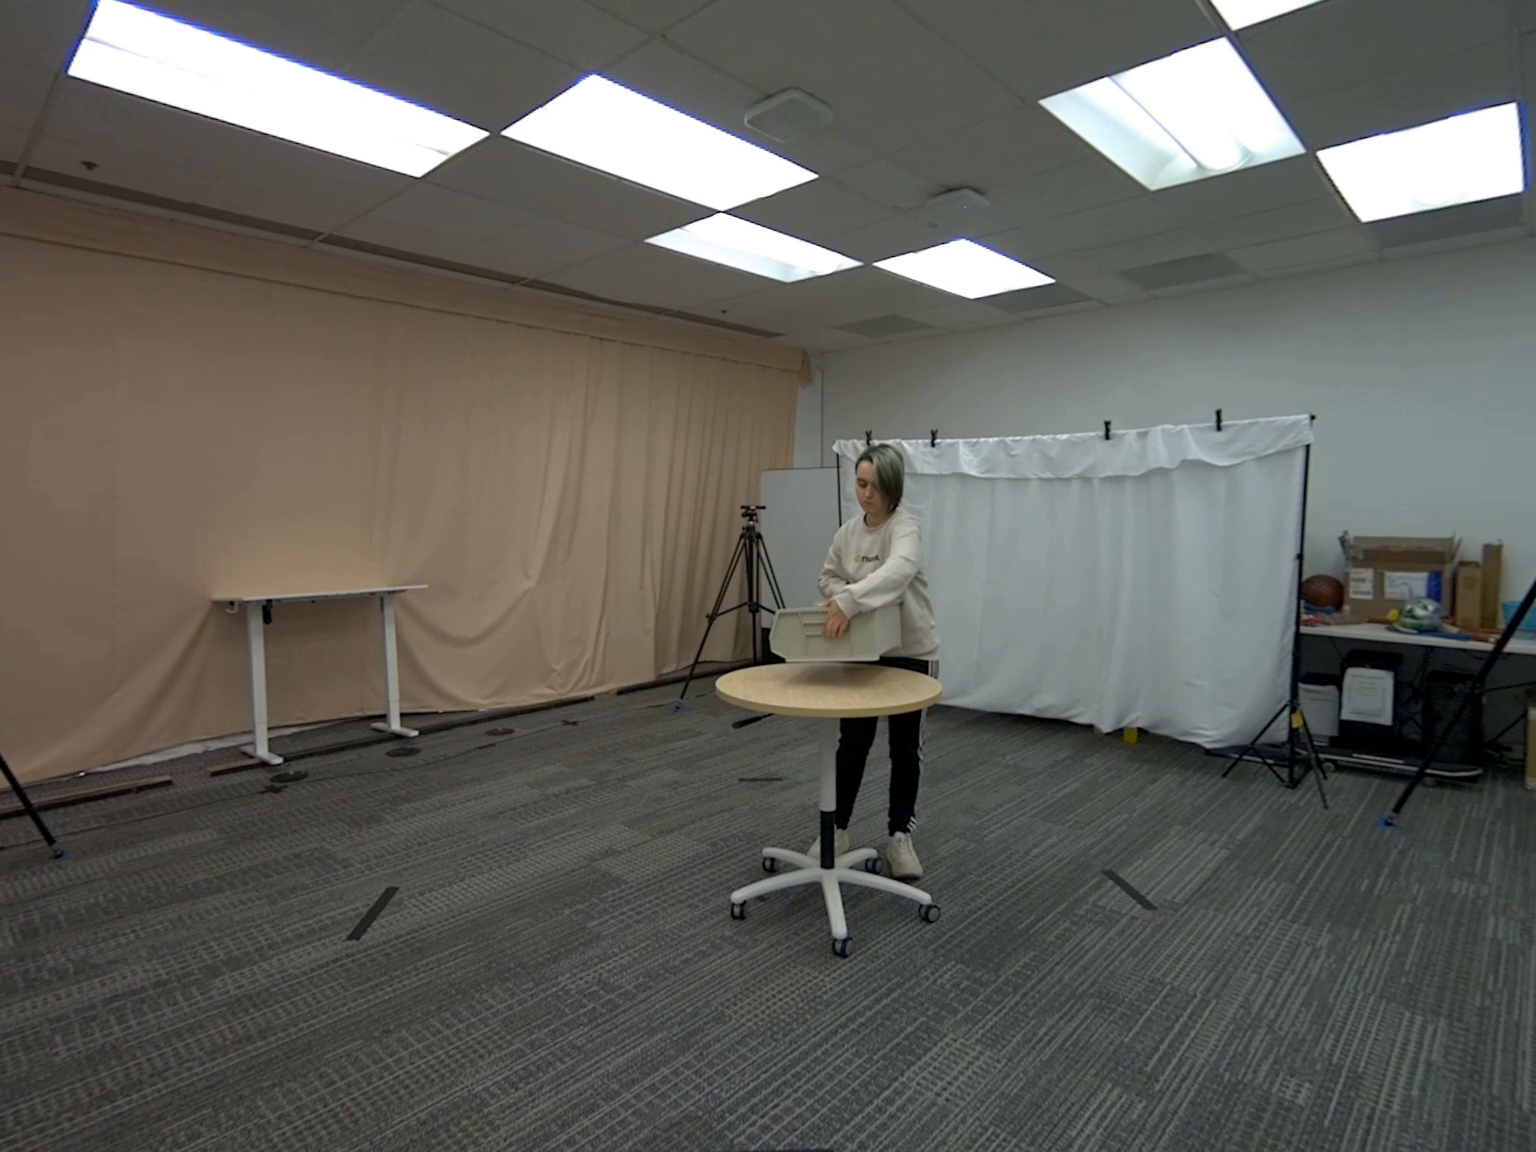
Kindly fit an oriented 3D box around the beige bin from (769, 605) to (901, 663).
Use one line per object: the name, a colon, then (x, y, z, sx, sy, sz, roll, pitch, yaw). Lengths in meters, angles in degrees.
beige bin: (0.254, 0.186, 2.983, 0.386, 0.189, 0.413, -1, 1, 21)
